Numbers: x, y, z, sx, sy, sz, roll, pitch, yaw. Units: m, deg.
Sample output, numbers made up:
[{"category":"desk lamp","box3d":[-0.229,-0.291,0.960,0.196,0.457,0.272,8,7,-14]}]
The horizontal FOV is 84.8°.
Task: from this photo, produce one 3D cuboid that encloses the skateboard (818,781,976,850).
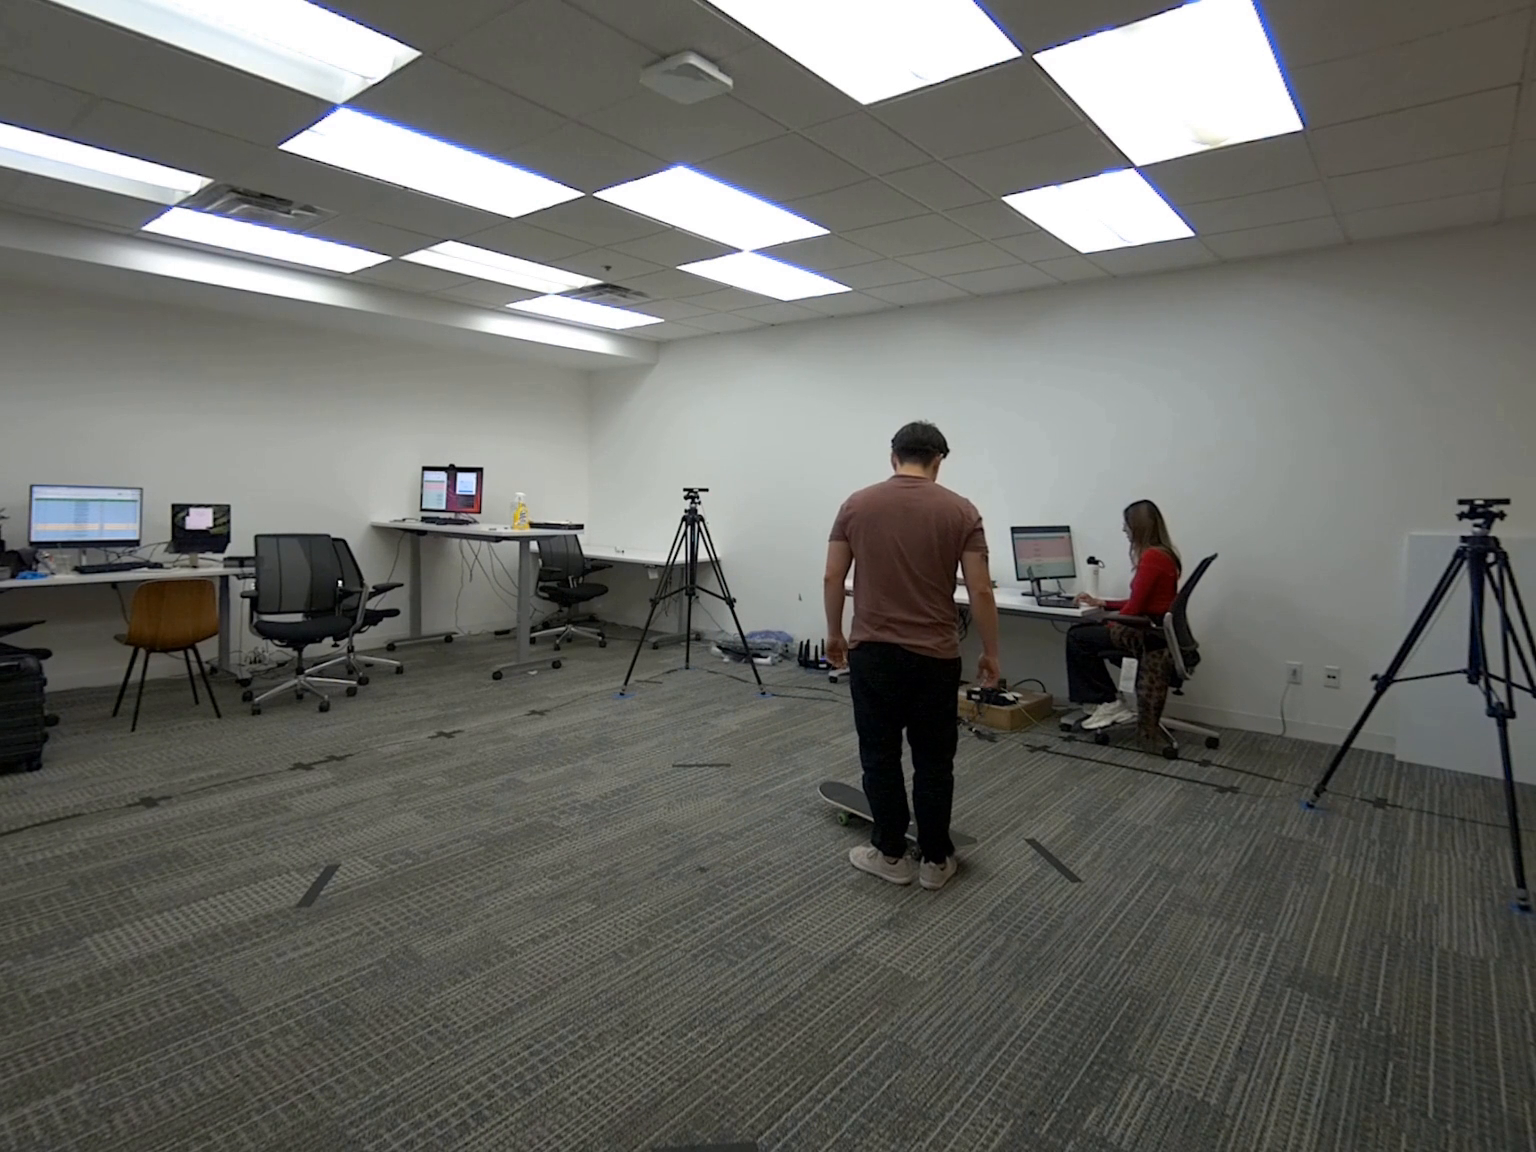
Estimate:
[{"category":"skateboard","box3d":[0.493,0.996,3.441,0.188,0.110,0.812,-3,7,-38]}]
